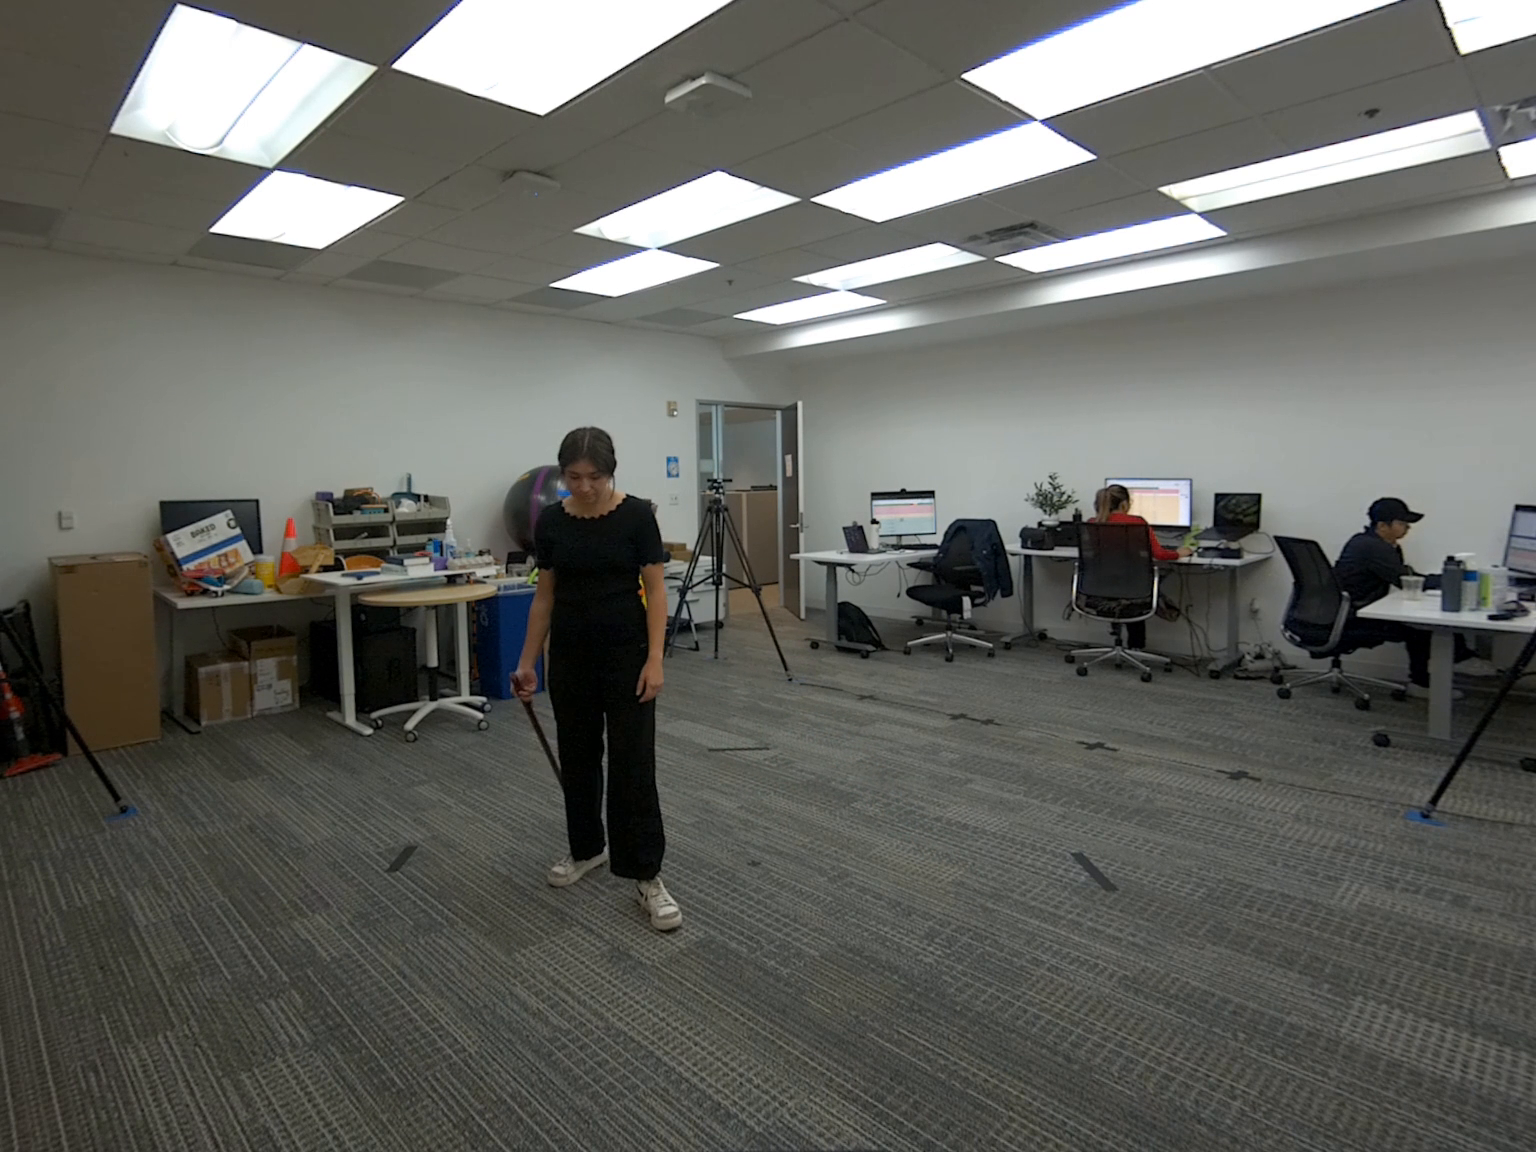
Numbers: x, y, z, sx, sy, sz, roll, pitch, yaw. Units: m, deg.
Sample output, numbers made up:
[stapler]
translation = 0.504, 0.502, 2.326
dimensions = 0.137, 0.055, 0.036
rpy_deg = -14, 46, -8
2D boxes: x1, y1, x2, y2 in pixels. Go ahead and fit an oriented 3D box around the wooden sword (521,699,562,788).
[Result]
[wooden sword]
translation = -0.811, 0.682, 3.193
dimensions = 0.052, 0.994, 0.024
rpy_deg = 19, 52, 21
